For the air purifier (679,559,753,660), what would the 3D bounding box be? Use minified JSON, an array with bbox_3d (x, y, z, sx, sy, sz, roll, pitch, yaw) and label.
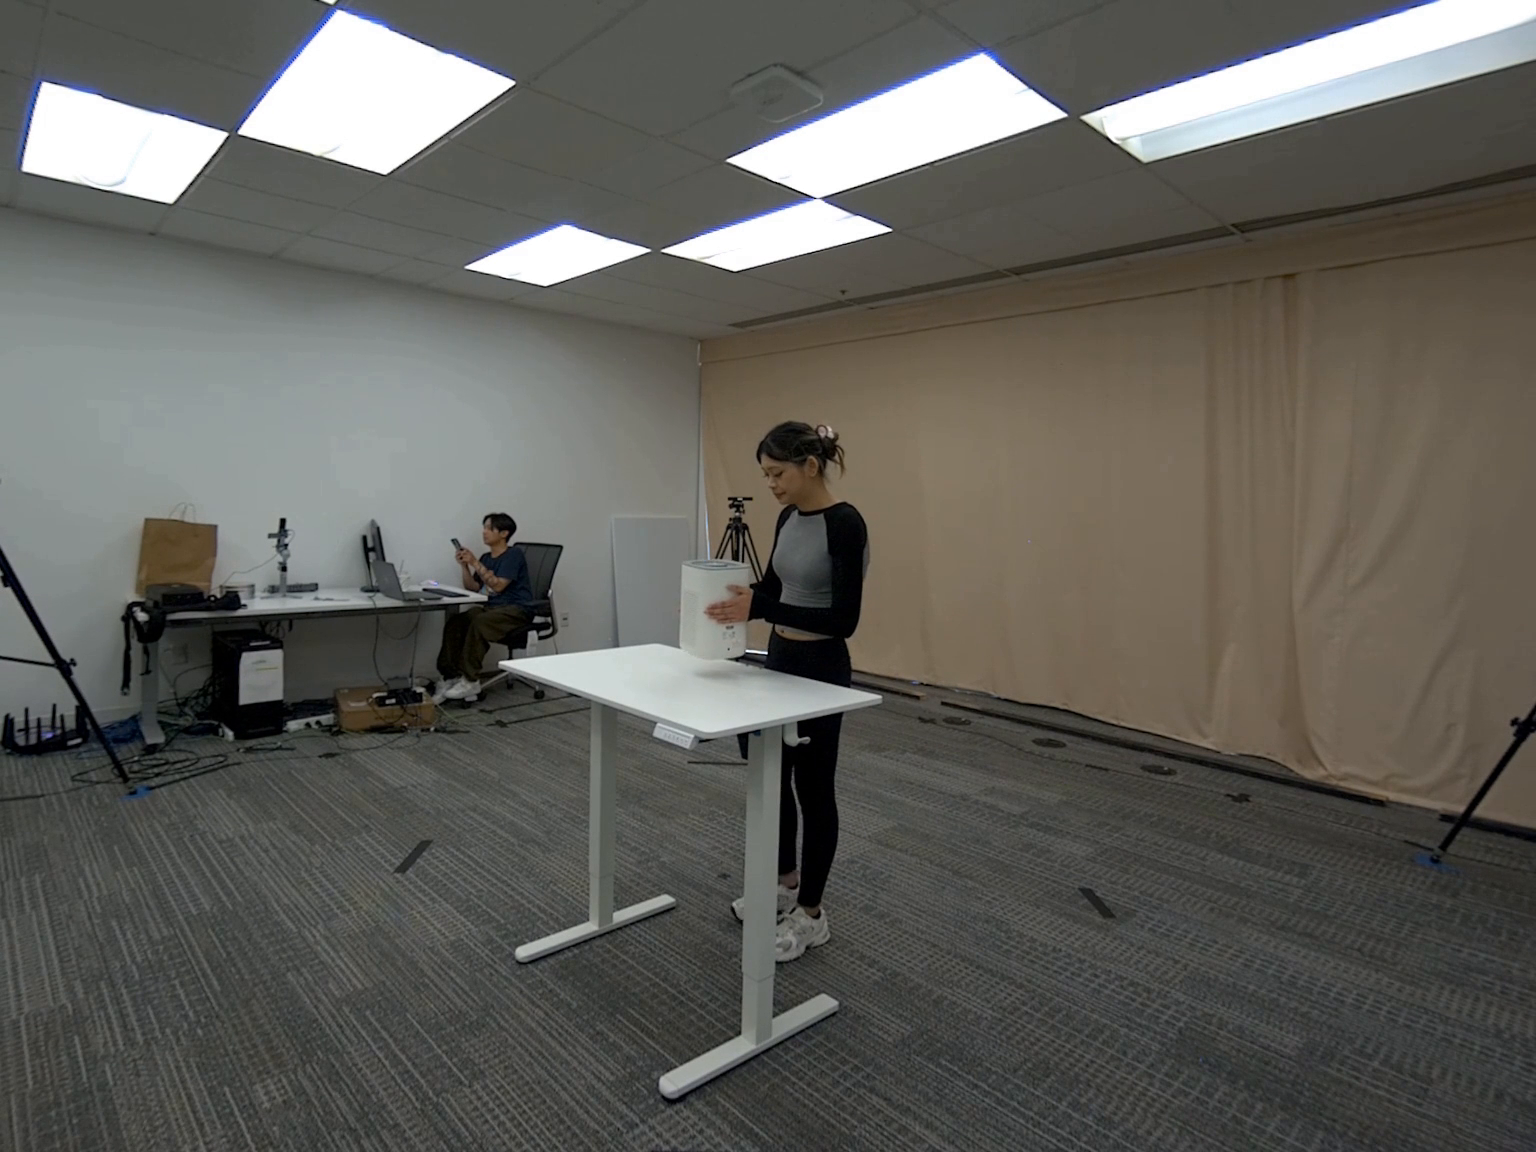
[{"bbox_3d":[-0.157,0.098,2.419,0.167,0.264,0.176,-2,7,-35],"label":"air purifier"}]
